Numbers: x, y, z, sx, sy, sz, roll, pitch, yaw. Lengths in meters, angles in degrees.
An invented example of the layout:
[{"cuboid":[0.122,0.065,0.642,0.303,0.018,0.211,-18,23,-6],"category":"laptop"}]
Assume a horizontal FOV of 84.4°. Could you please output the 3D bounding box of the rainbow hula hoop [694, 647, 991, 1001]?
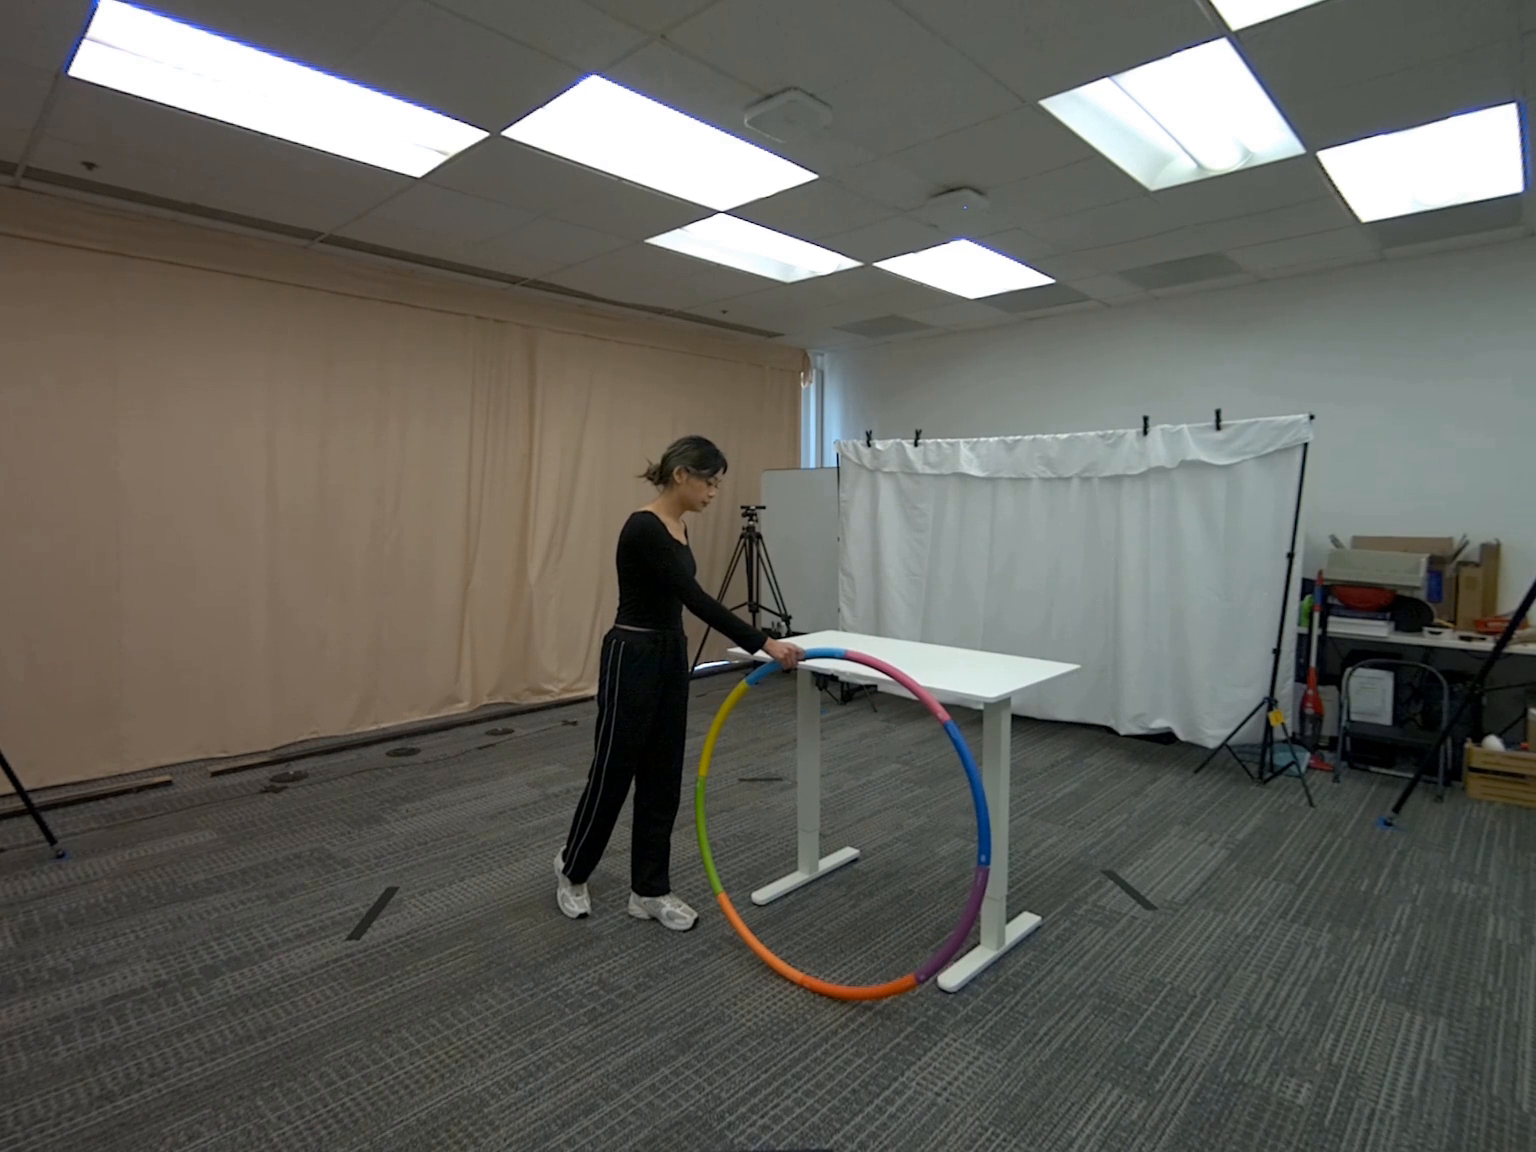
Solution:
[{"cuboid":[0.172,0.707,2.467,1.010,0.981,0.034,3,-6,37],"category":"rainbow hula hoop"}]
